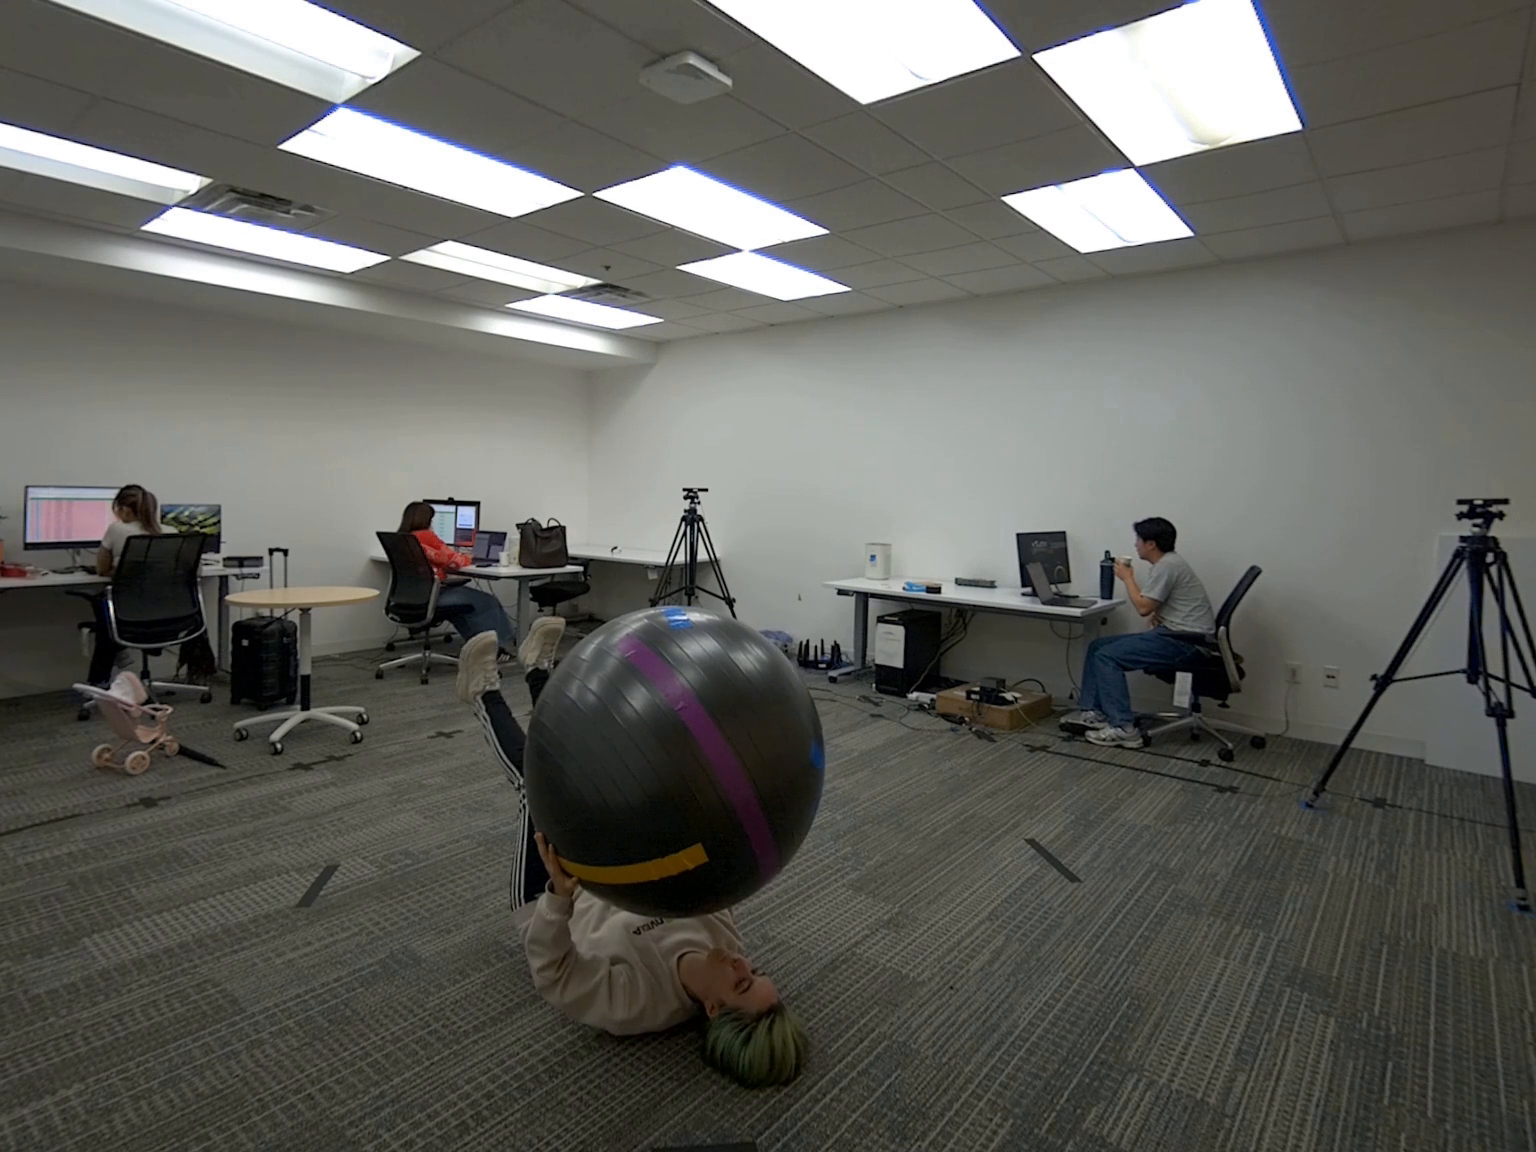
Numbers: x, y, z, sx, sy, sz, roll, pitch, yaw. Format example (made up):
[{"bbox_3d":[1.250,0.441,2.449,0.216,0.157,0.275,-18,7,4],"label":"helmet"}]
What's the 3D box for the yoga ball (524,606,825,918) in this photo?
[{"bbox_3d":[-0.240,0.457,2.160,0.757,0.755,0.762,1,4,-2],"label":"yoga ball"}]
